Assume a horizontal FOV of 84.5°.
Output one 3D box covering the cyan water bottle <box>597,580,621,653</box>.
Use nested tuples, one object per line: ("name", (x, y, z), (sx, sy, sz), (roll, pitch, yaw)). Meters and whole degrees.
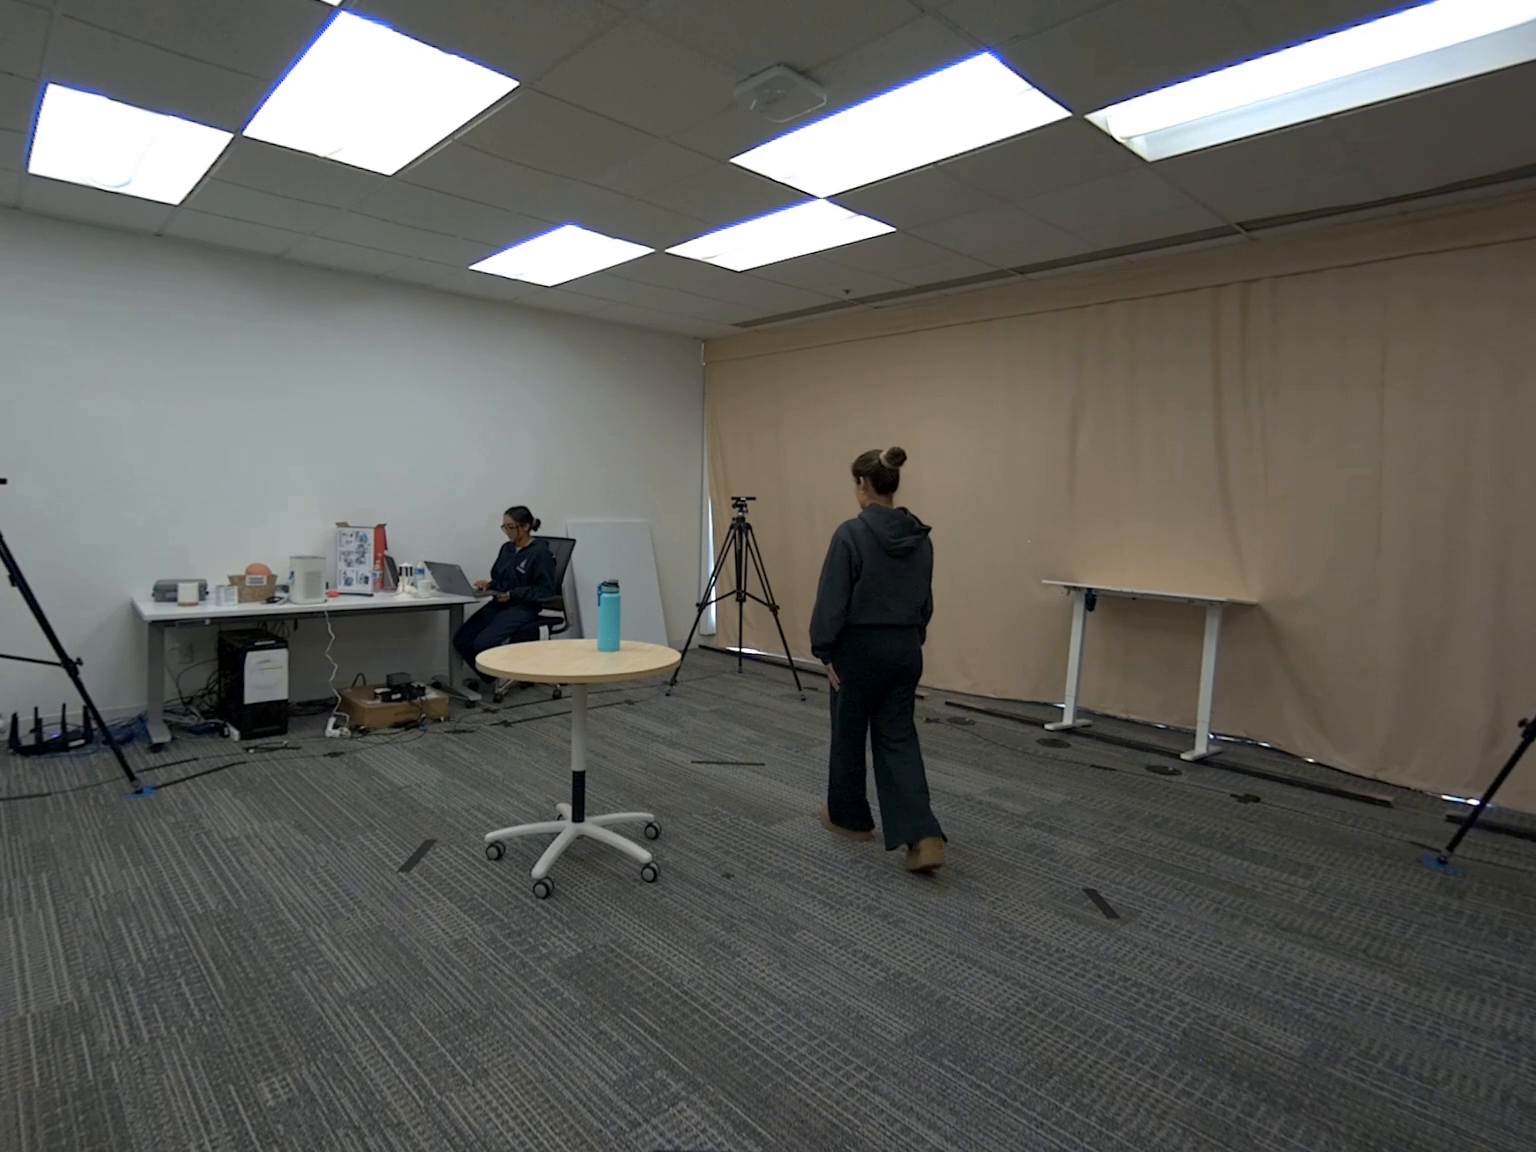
("cyan water bottle", (-0.639, 0.154, 3.329), (0.092, 0.282, 0.093), (-2, 5, -1))
